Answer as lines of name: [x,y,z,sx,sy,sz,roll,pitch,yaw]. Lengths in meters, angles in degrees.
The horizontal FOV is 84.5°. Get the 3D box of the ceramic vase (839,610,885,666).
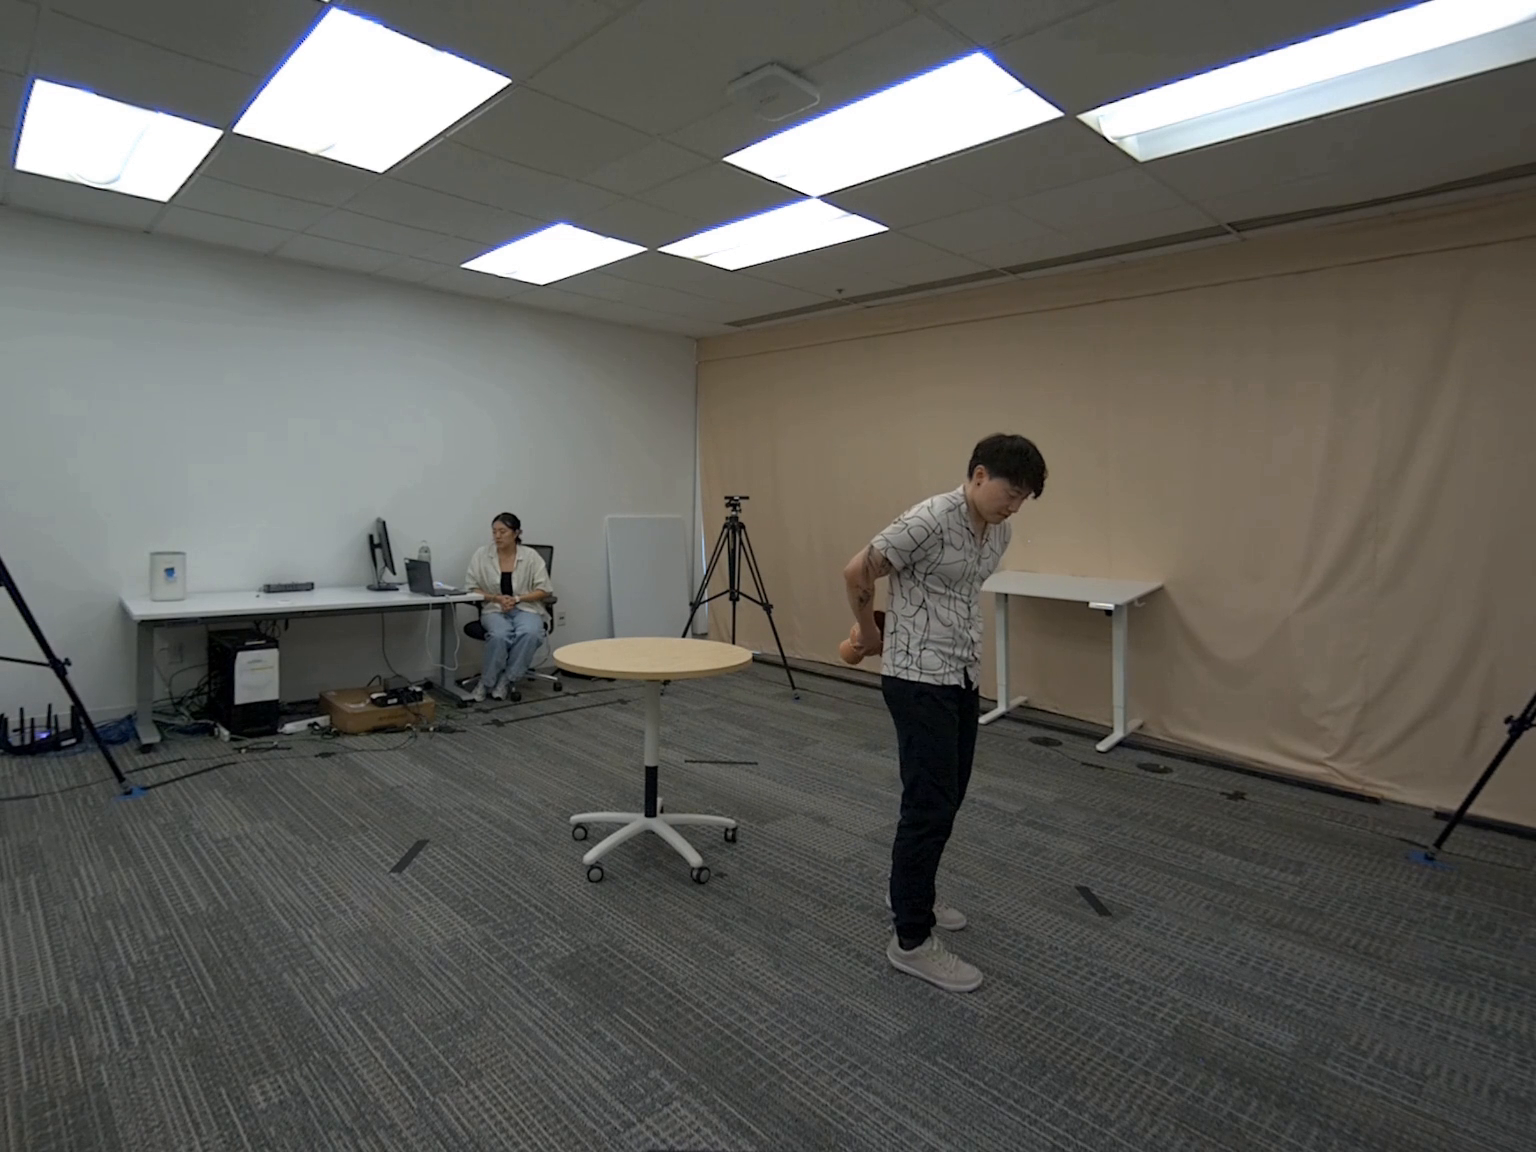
ceramic vase: [0.343,0.226,2.962,0.133,0.161,0.219,25,-39,-12]
